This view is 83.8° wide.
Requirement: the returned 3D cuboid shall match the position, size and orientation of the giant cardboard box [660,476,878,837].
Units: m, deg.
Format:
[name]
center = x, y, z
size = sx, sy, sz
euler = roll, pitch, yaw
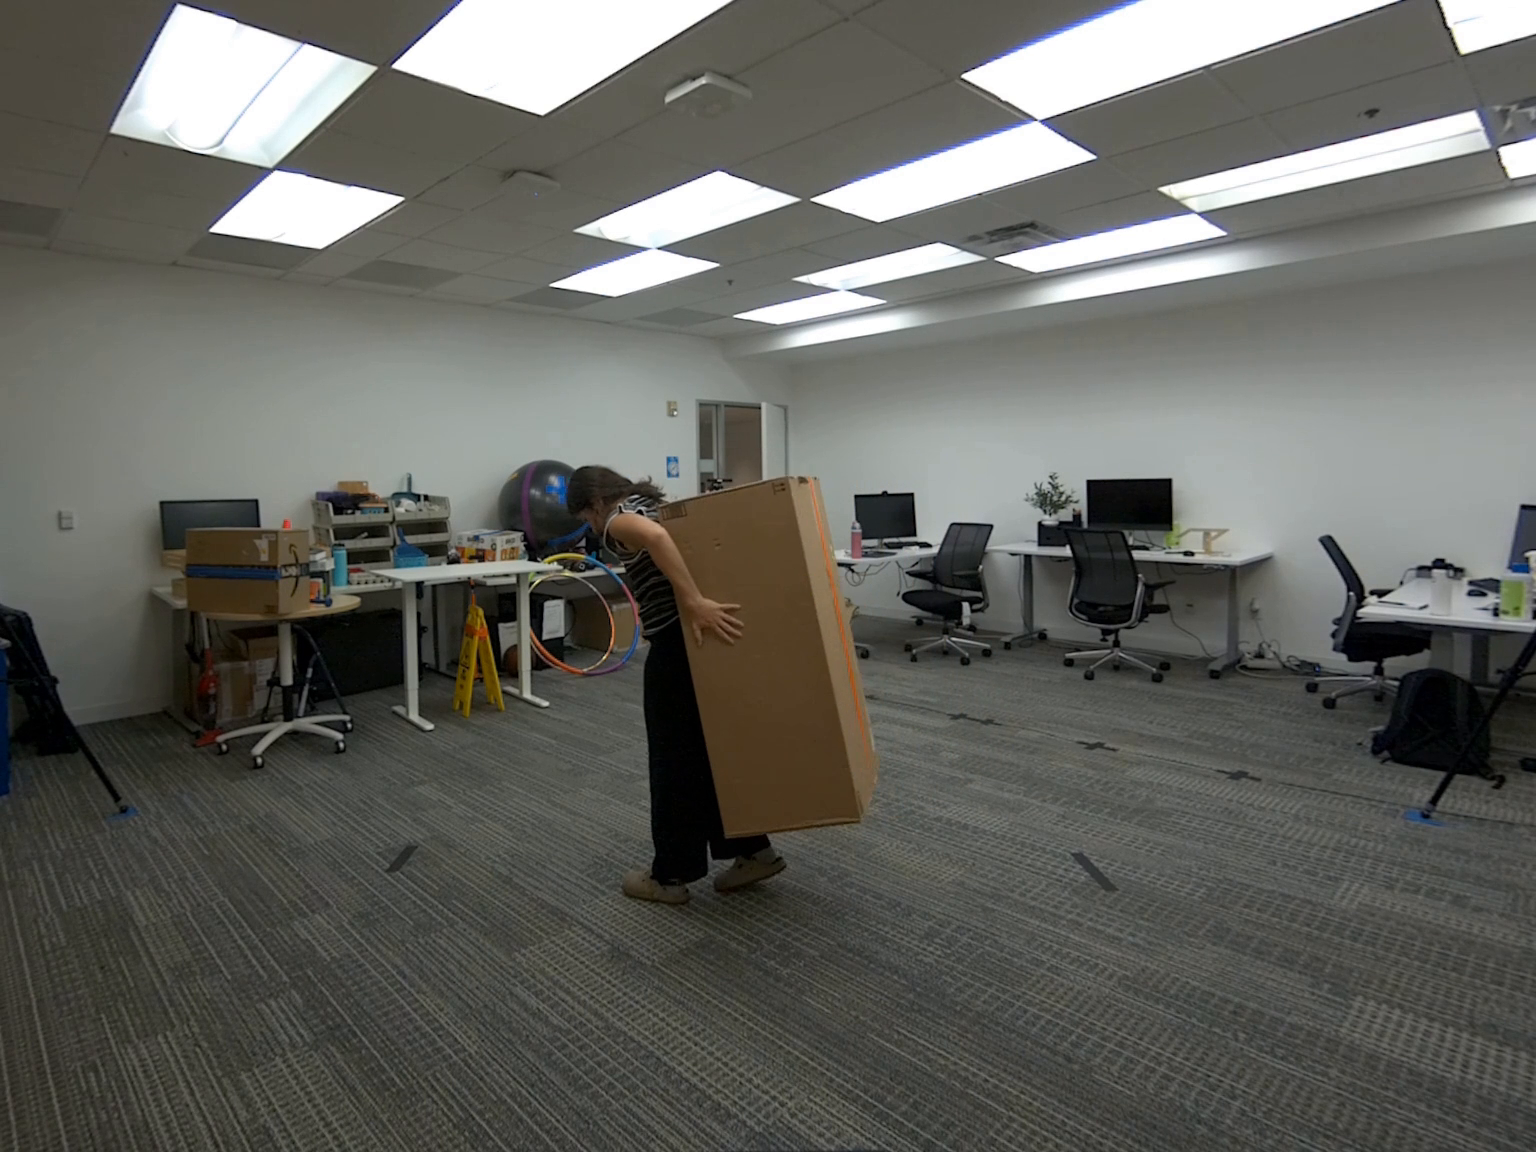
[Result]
[giant cardboard box]
center = 0.034, 0.225, 2.782
size = 0.431, 1.026, 0.571
euler = -12, 0, 14
